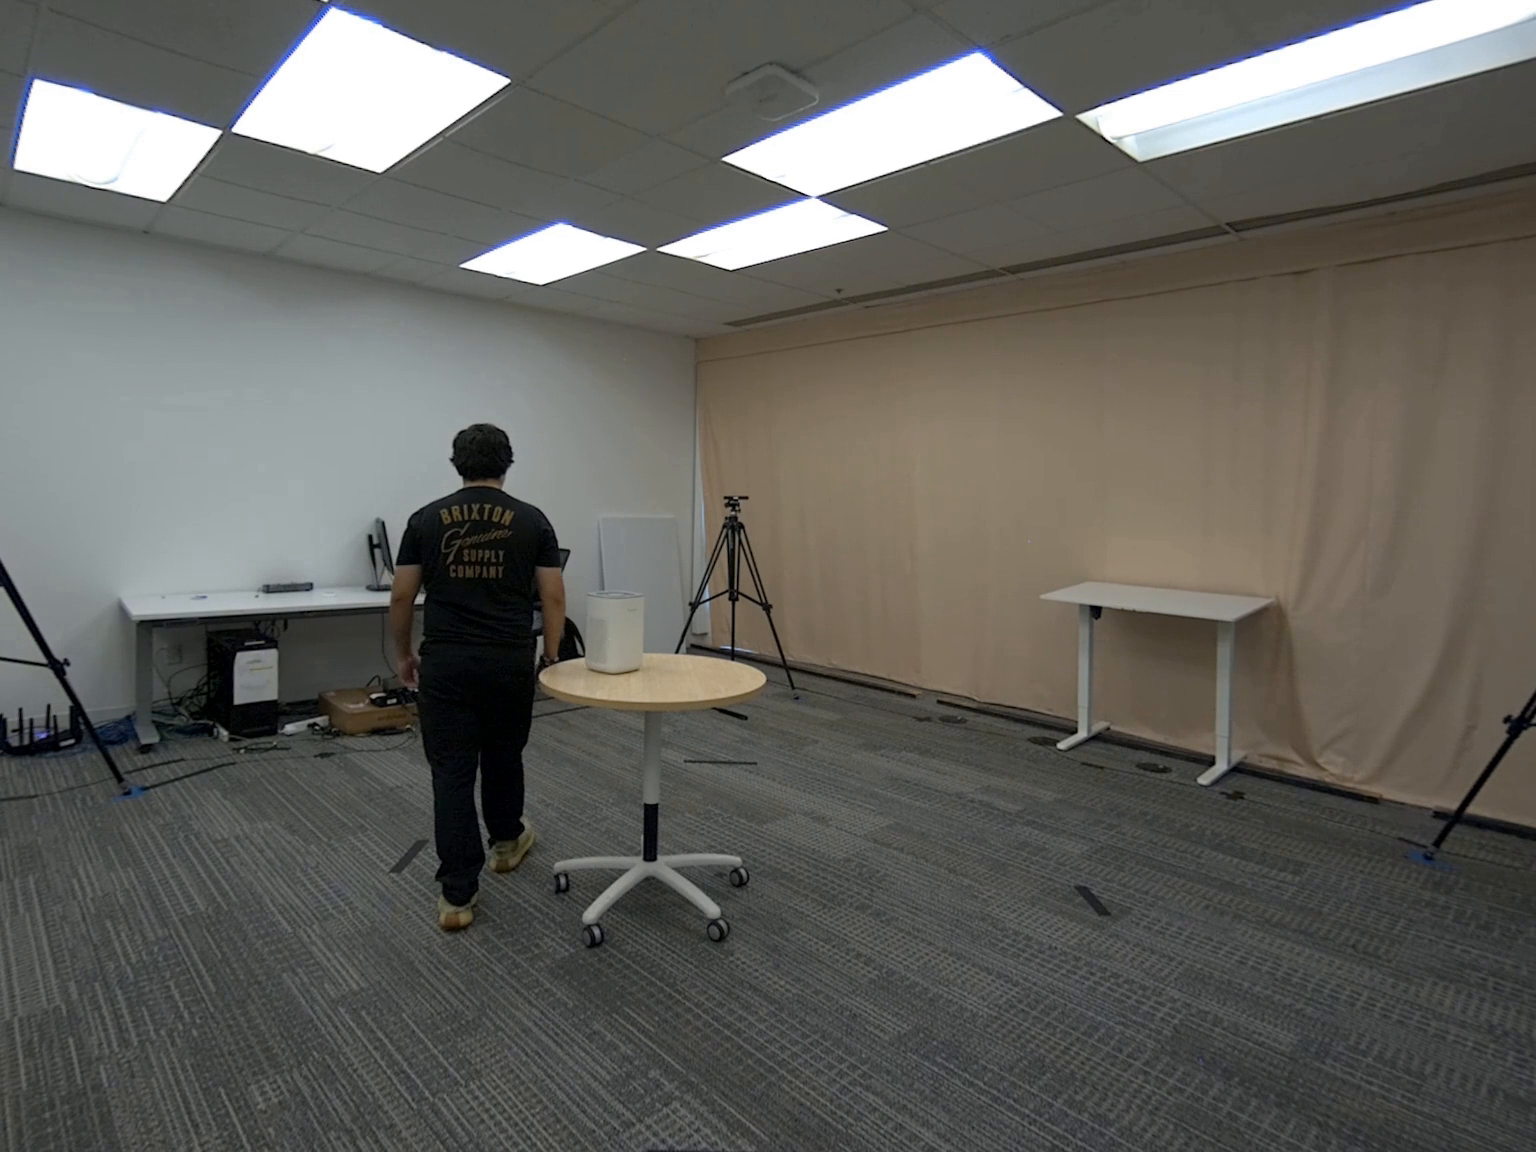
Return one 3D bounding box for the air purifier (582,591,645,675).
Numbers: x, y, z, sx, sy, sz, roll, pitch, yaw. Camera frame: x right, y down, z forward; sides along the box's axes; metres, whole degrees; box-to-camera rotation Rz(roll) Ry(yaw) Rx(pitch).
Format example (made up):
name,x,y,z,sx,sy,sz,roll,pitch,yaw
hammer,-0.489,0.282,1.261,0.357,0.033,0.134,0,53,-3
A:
name,x,y,z,sx,sy,sz,roll,pitch,yaw
air purifier,-0.543,0.195,2.912,0.176,0.265,0.167,5,4,34
